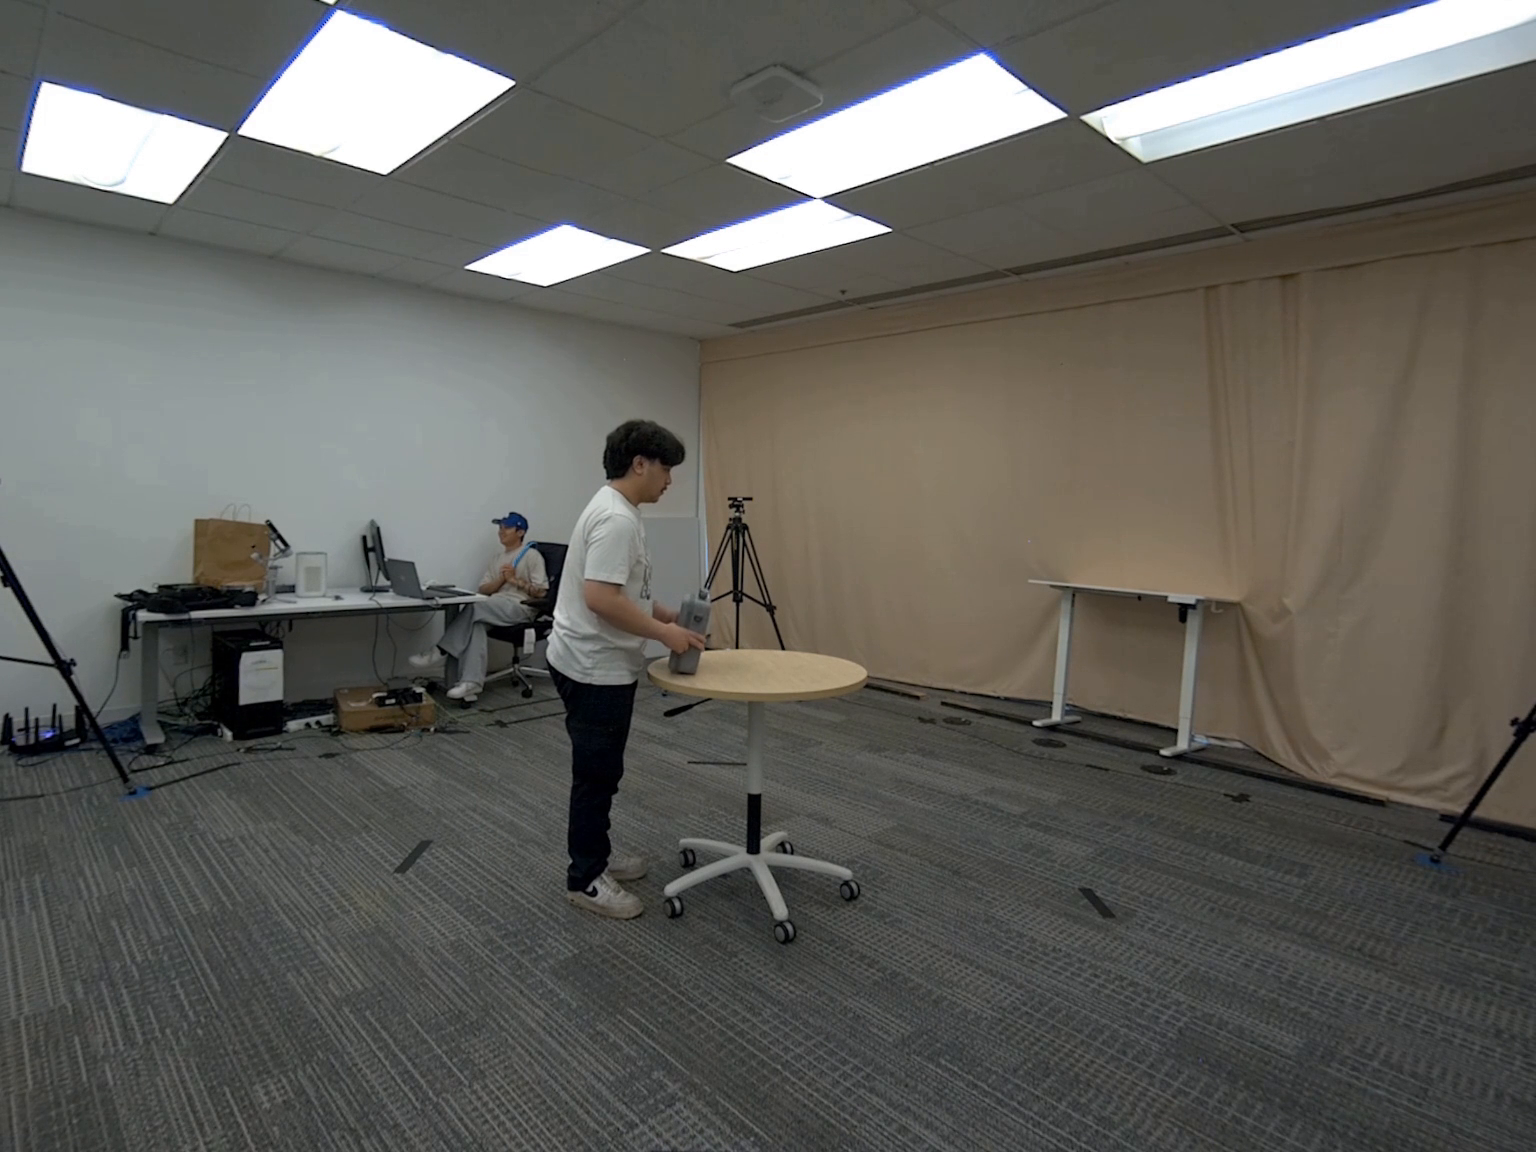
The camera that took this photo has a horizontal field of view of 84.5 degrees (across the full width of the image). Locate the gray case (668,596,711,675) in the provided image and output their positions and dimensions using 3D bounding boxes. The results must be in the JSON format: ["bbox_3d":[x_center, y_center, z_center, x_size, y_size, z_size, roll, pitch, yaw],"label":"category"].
[{"bbox_3d":[-0.278,0.194,2.921,0.104,0.260,0.258,9,4,-4],"label":"gray case"}]
